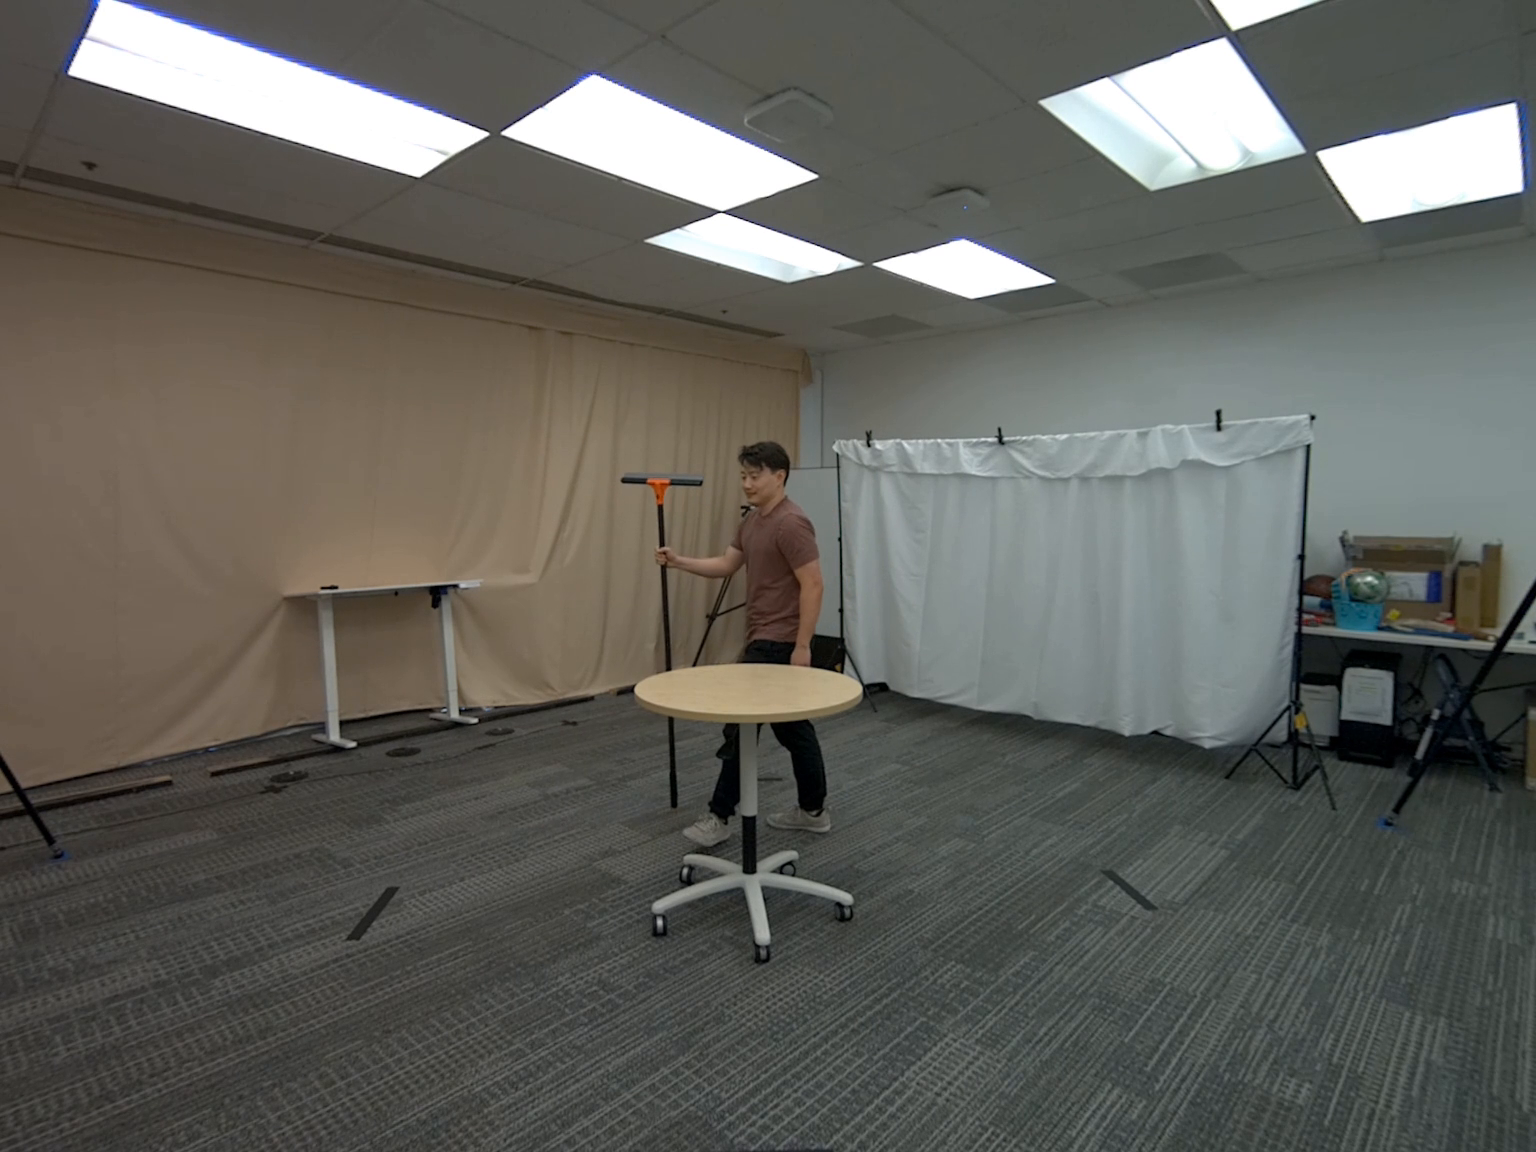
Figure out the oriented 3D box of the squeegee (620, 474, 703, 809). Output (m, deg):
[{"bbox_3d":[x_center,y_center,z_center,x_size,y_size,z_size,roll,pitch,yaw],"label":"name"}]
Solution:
[{"bbox_3d":[-0.450,0.323,3.717,0.452,1.528,0.051,6,12,39],"label":"squeegee"}]
